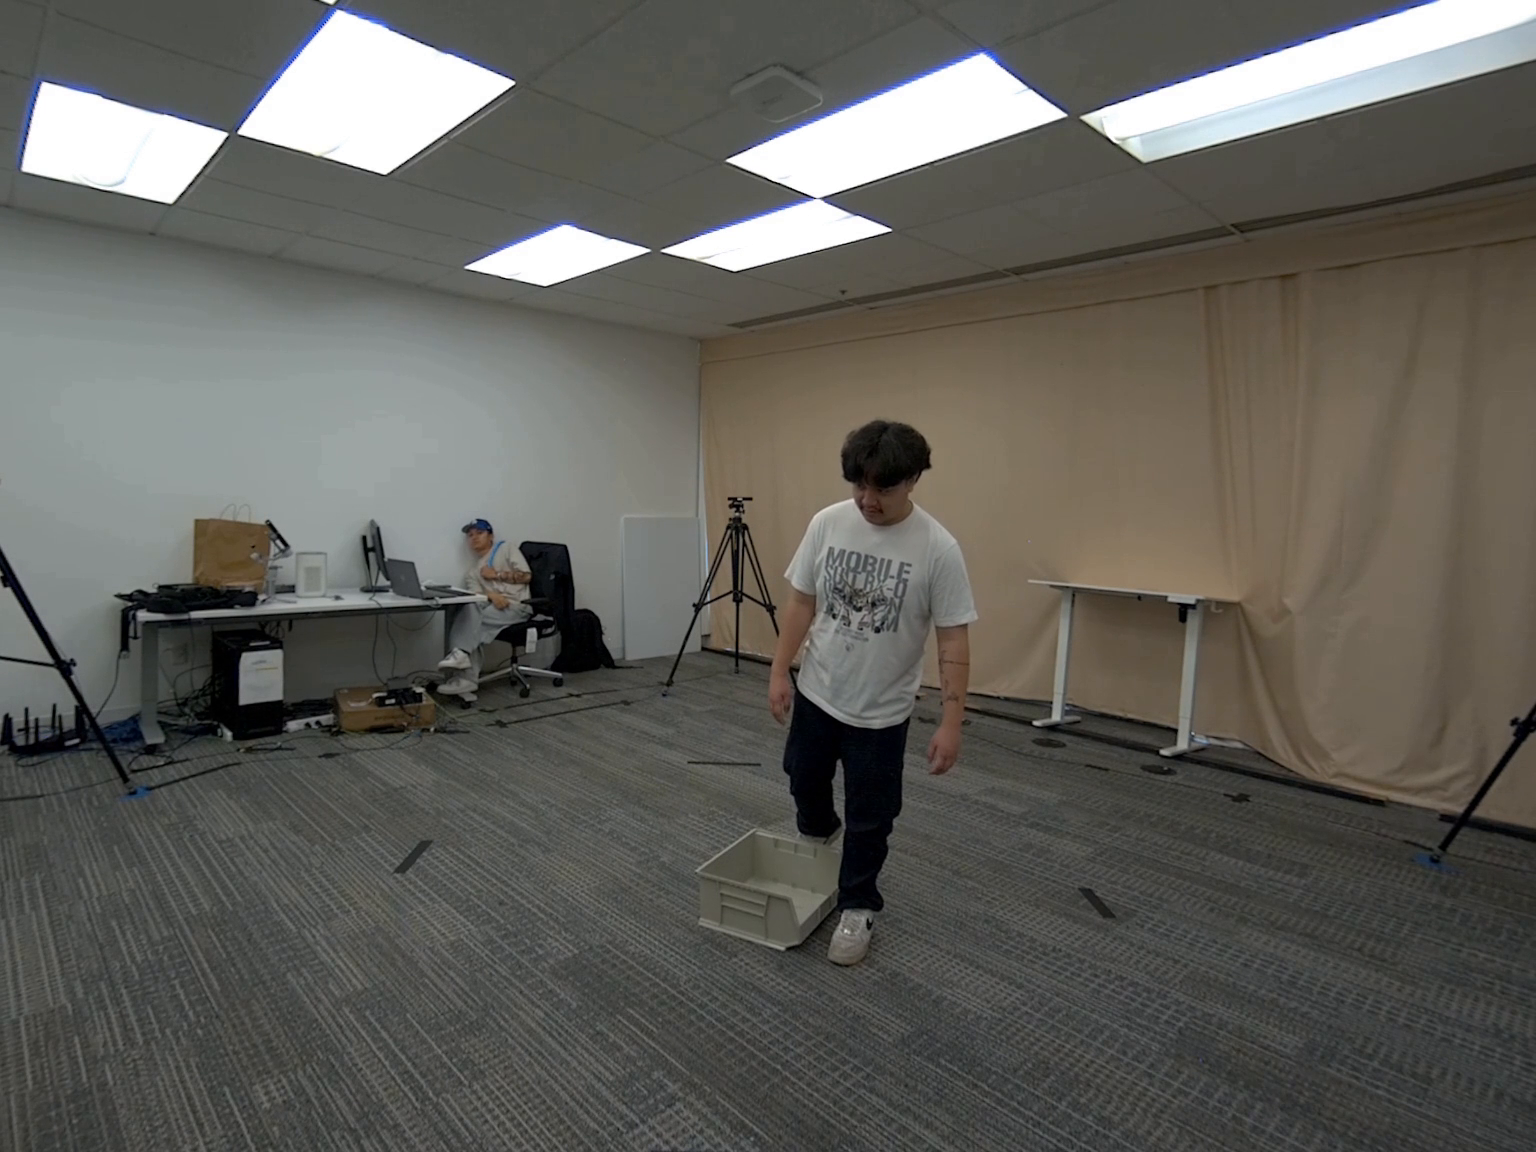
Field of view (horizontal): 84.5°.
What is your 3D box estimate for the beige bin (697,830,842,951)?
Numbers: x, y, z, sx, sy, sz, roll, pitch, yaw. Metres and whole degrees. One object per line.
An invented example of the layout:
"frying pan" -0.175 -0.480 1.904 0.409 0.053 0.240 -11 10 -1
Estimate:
"beige bin" 0.017 1.045 2.829 0.385 0.188 0.415 2 5 28
